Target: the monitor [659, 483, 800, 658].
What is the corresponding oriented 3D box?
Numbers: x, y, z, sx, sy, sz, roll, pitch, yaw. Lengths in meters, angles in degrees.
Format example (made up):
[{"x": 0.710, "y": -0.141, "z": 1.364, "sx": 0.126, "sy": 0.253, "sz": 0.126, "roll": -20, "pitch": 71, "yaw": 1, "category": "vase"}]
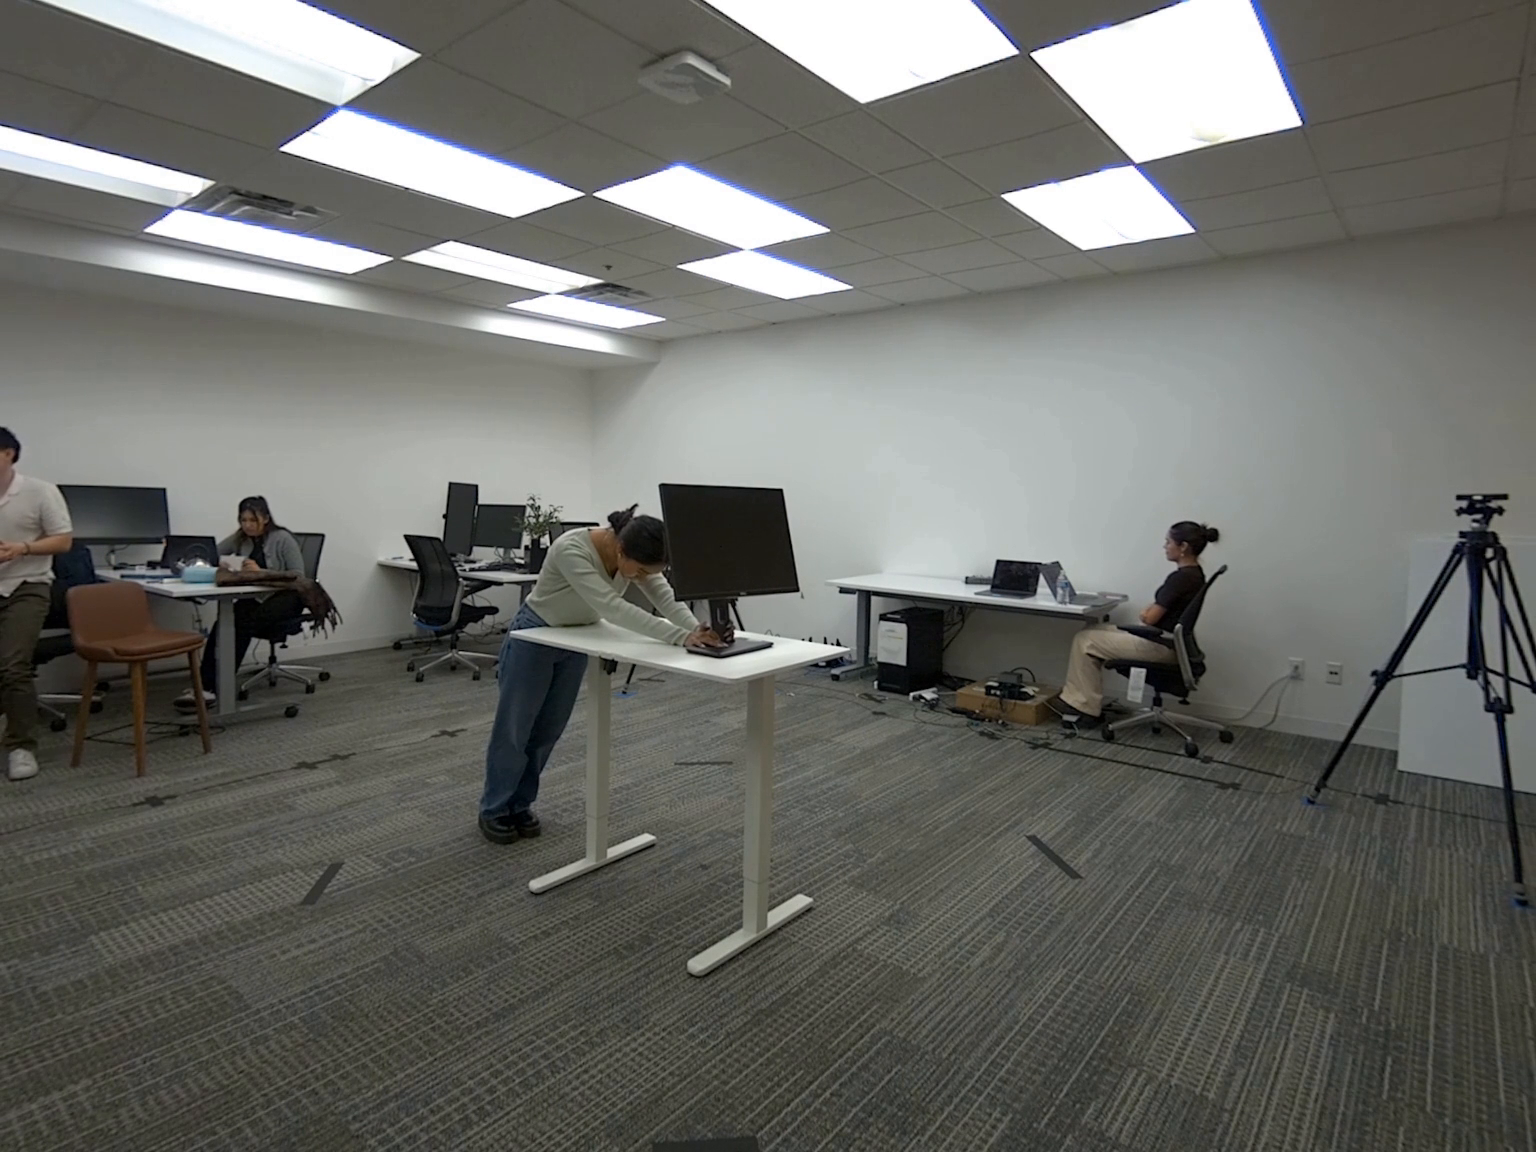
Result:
[{"x": -0.136, "y": -0.024, "z": 2.675, "sx": 0.193, "sy": 0.522, "sz": 0.522, "roll": 0, "pitch": 1, "yaw": 43, "category": "monitor"}]
